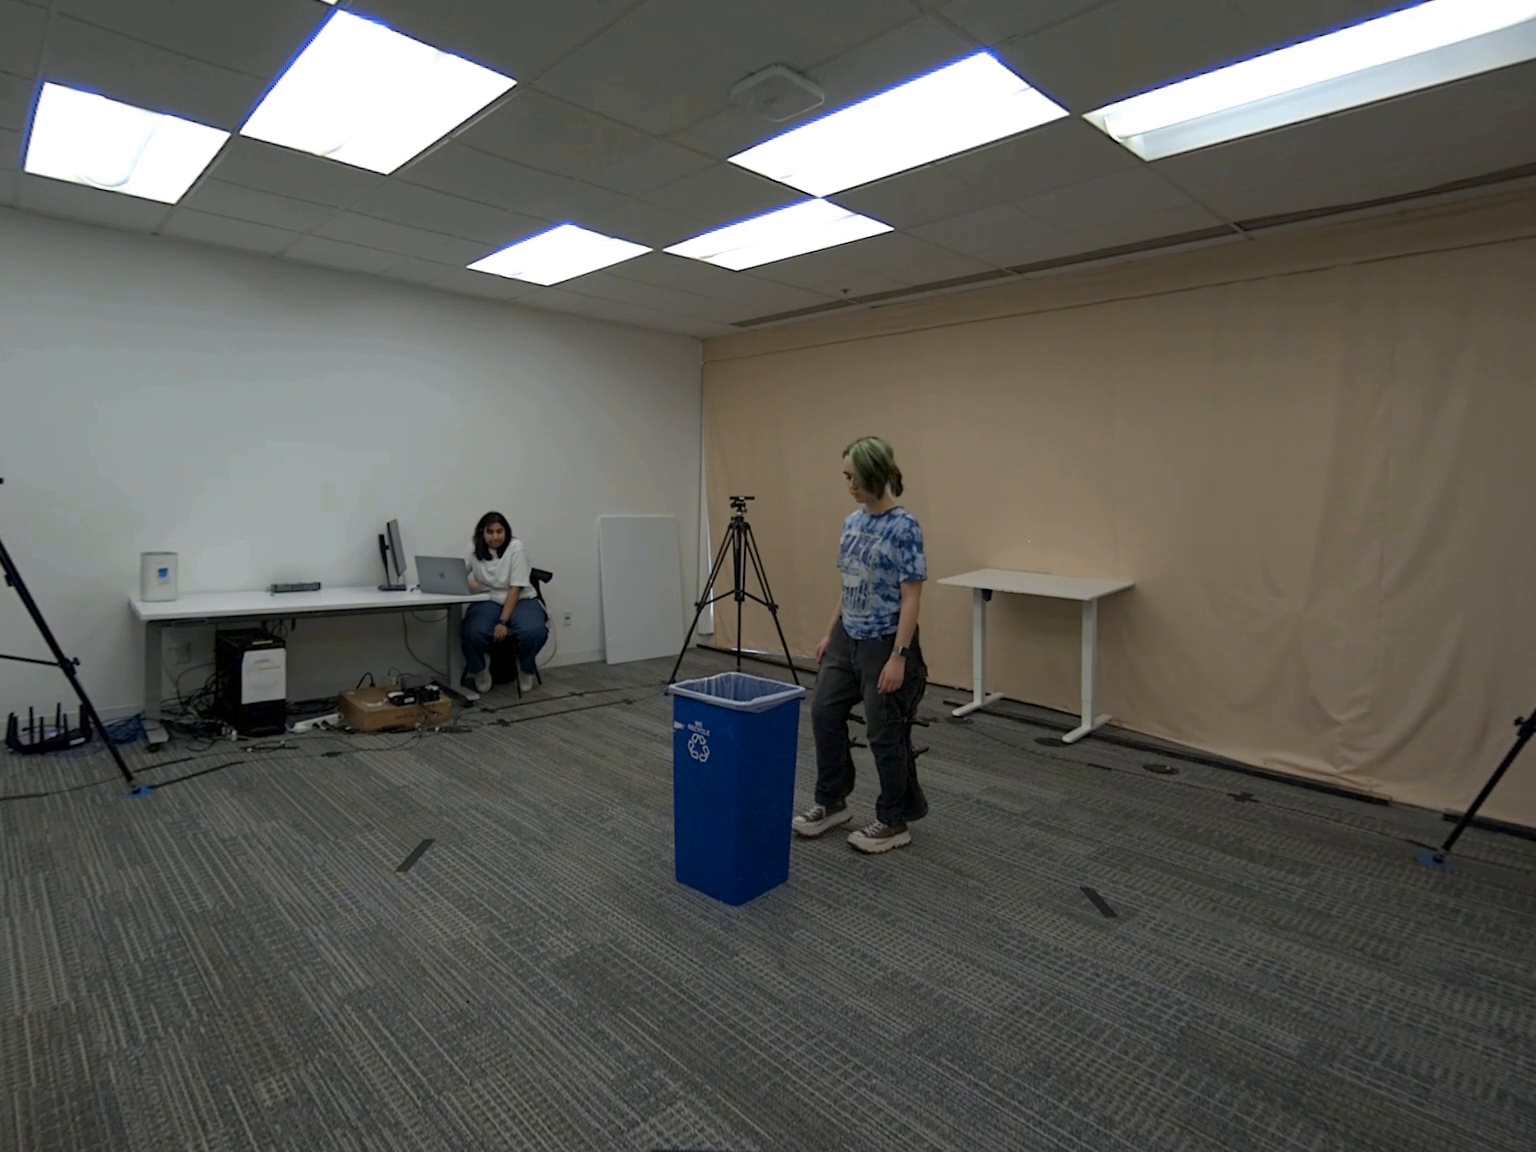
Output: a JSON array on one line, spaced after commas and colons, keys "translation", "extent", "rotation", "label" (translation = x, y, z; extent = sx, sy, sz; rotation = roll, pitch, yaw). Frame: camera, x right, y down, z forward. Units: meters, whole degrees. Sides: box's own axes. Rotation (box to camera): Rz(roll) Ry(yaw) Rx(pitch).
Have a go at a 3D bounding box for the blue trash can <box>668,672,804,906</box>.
[{"translation": [-0.121, 0.752, 3.044], "extent": [0.383, 0.712, 0.369], "rotation": [4, 5, 40], "label": "blue trash can"}]
